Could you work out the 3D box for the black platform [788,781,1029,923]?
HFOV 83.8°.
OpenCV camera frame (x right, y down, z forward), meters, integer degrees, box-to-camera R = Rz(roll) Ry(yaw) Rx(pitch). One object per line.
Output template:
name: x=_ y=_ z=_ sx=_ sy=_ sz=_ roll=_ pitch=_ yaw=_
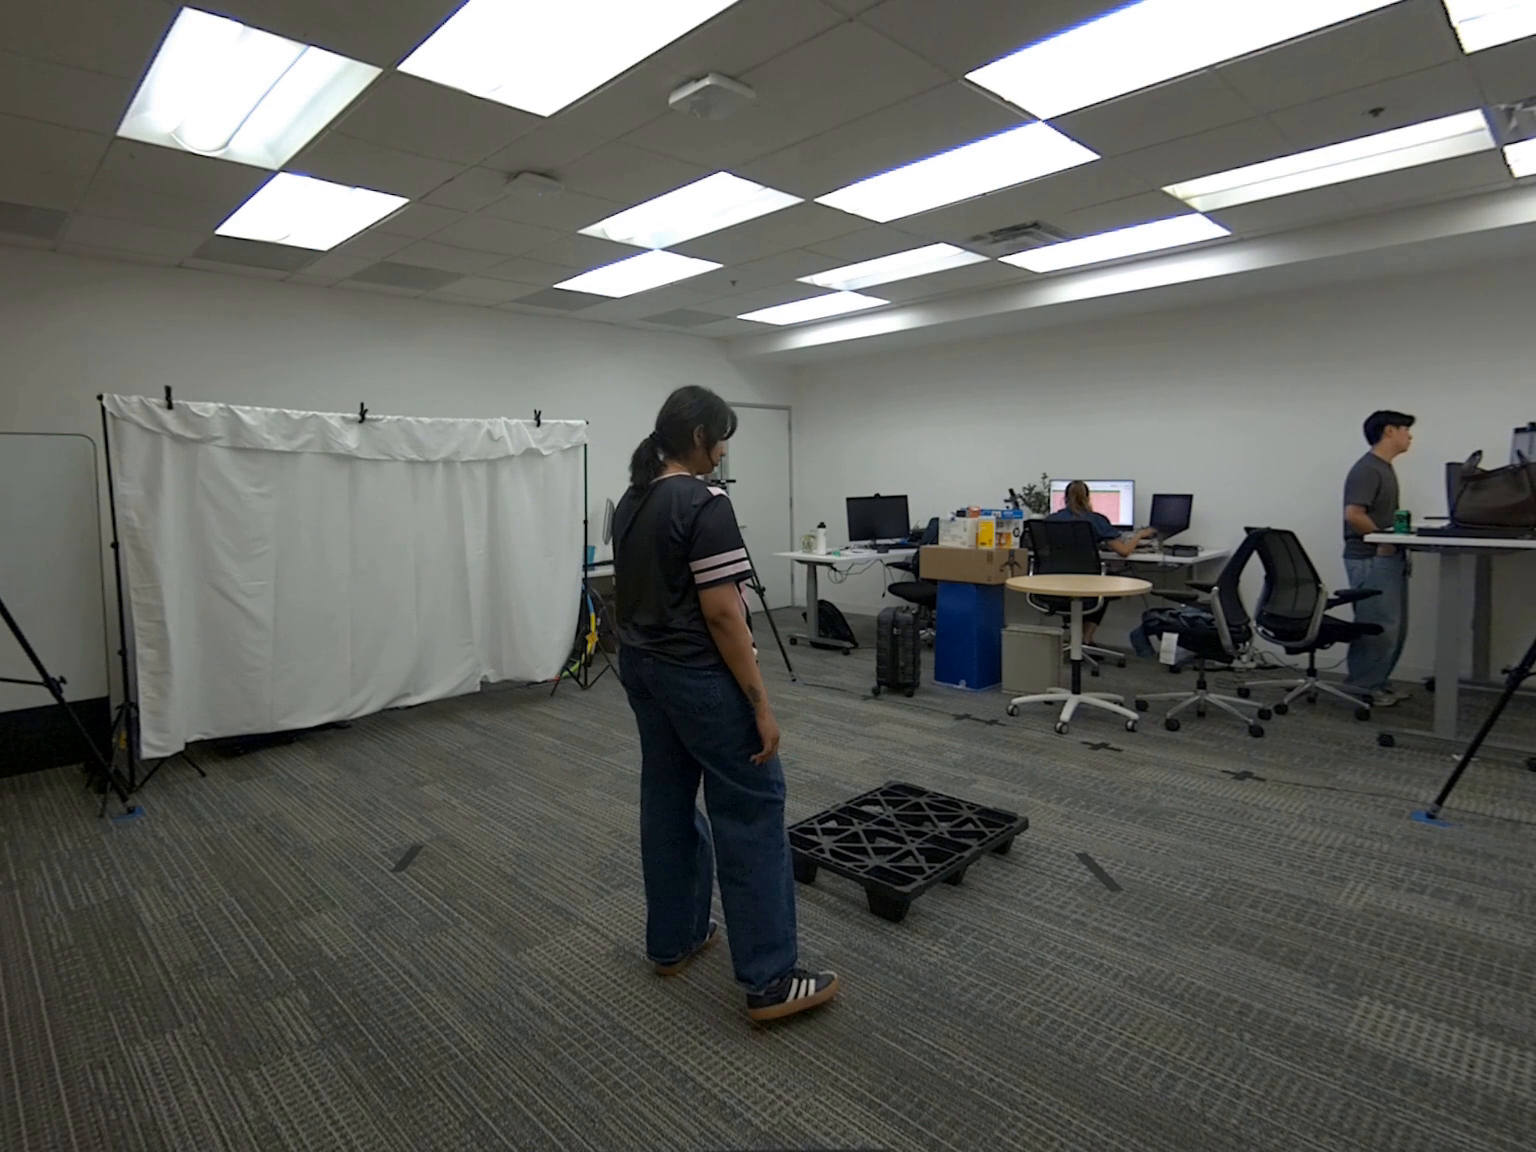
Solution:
black platform: x=0.474 y=0.973 z=3.088 sx=0.624 sy=0.143 sz=0.784 roll=4 pitch=8 yaw=44
